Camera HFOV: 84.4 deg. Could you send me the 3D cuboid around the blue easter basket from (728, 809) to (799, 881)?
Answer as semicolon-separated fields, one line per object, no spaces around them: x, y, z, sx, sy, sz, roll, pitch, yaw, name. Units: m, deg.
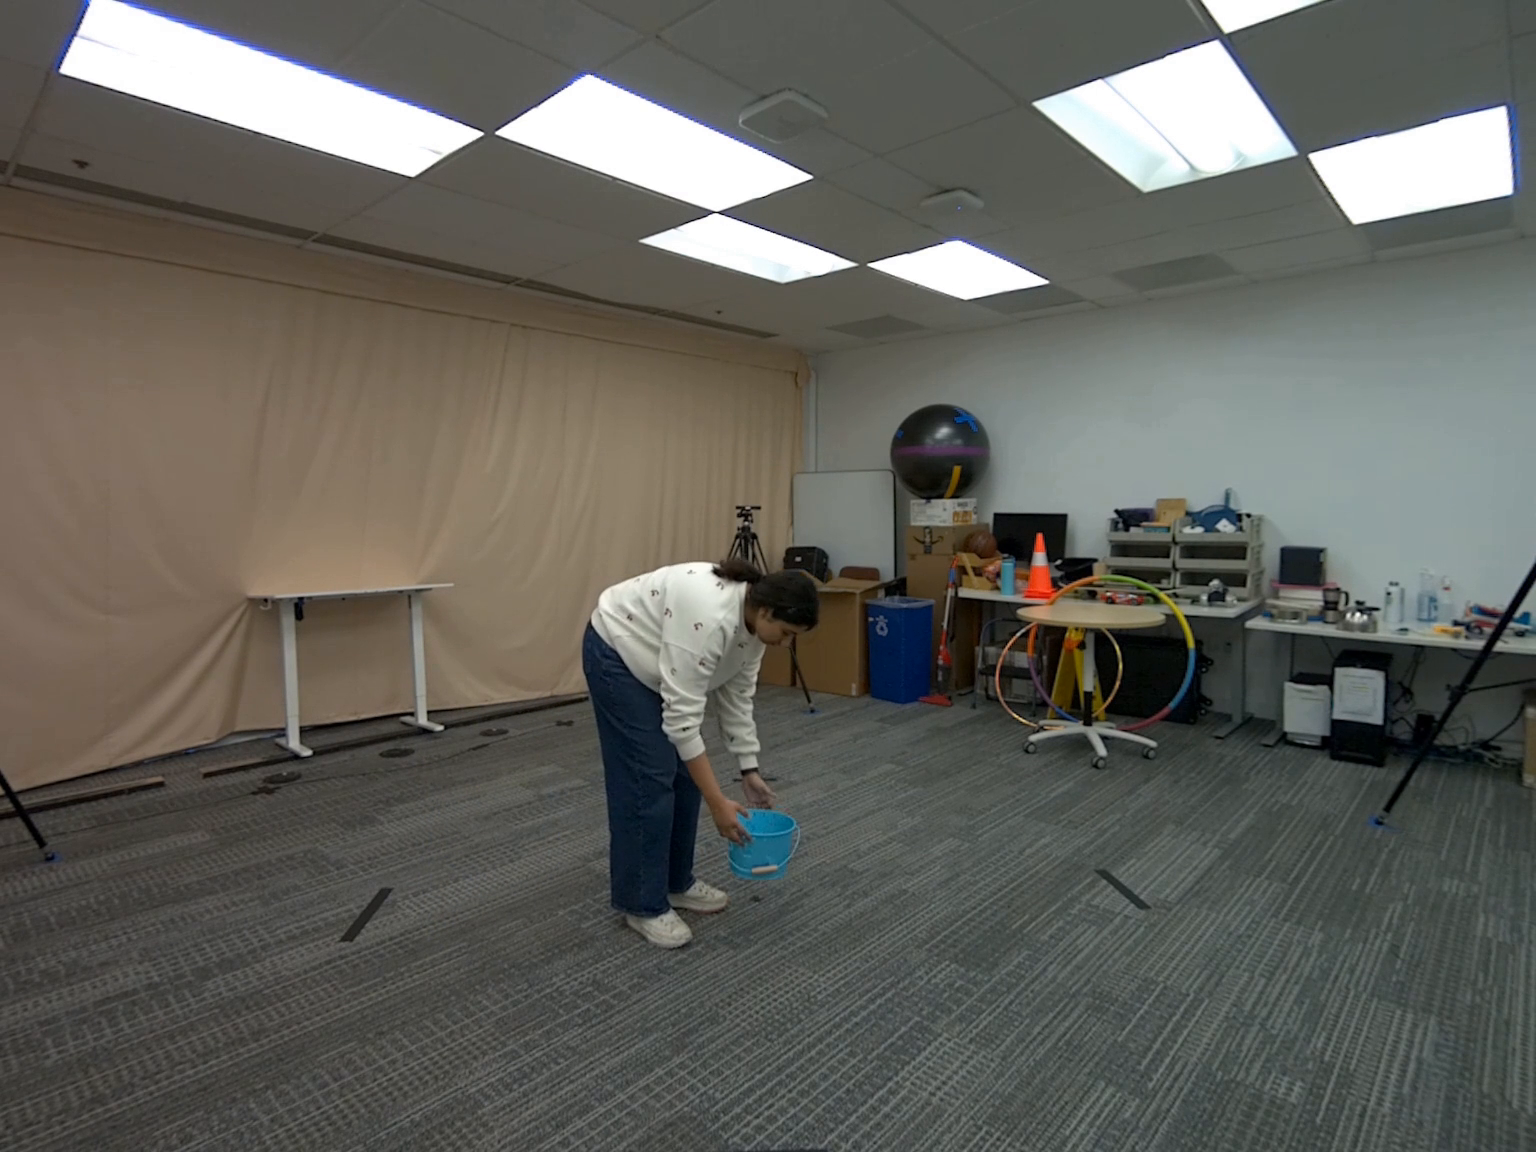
-0.033;0.856;2.671;0.243;0.156;0.244;2;3;-2;blue easter basket
